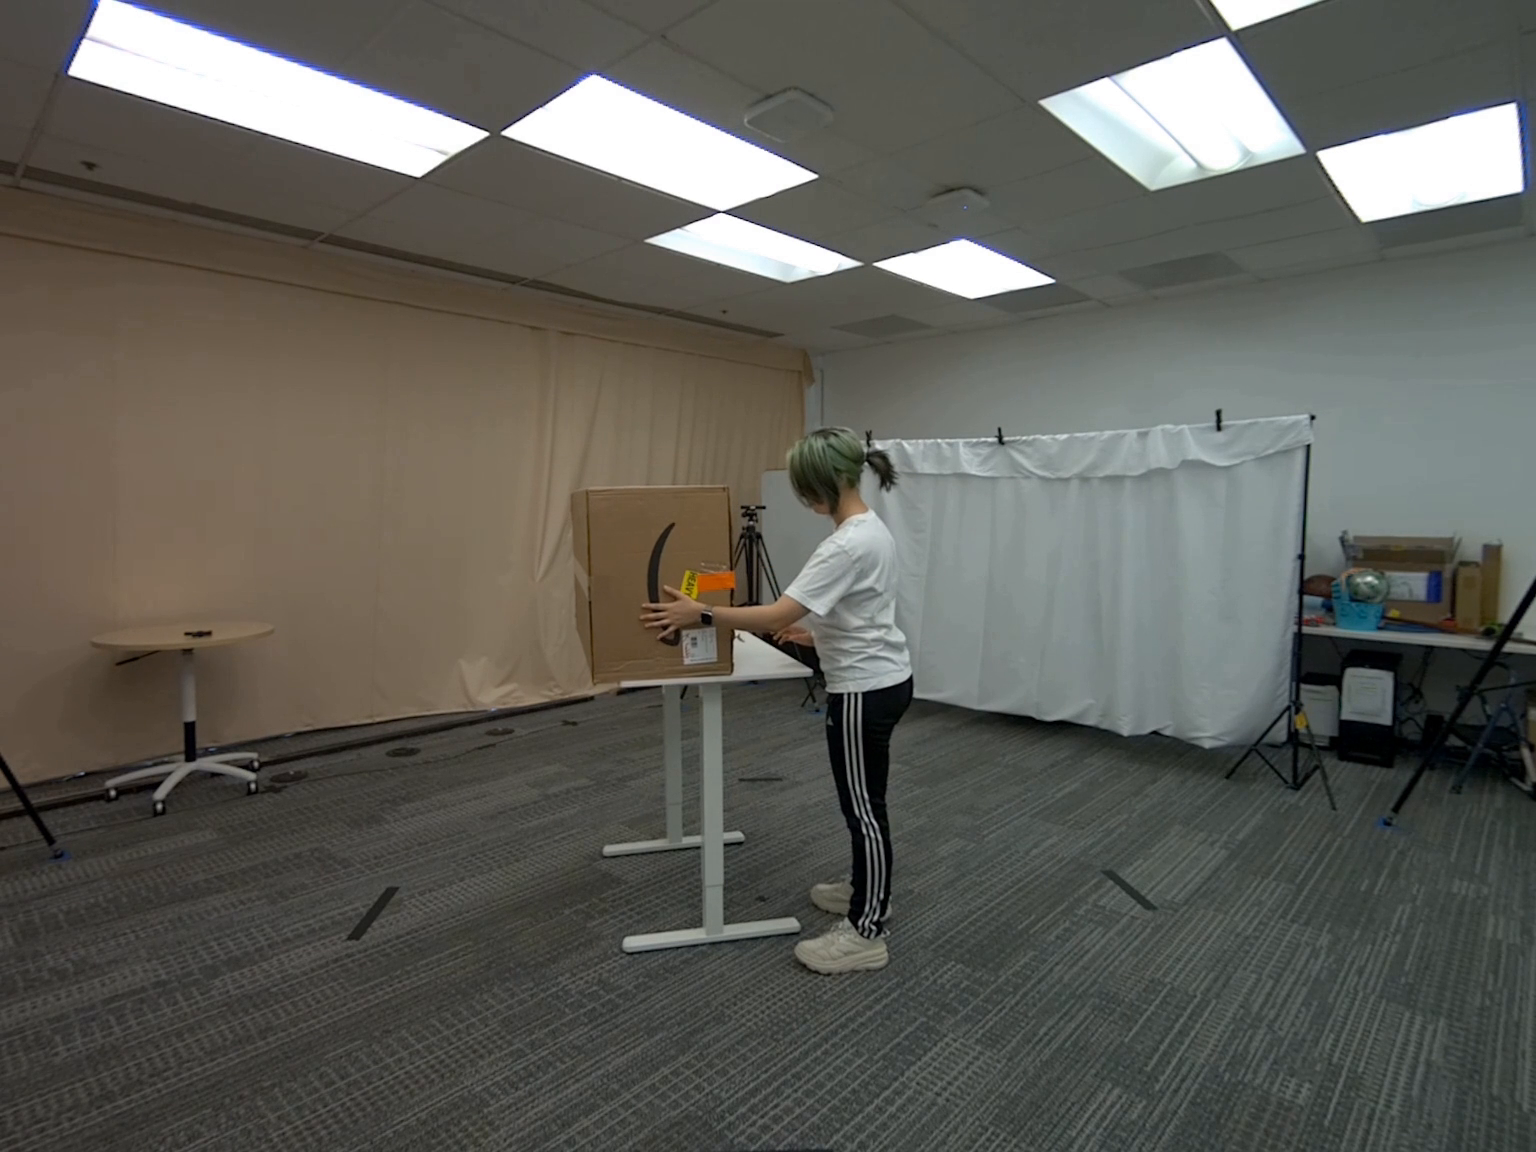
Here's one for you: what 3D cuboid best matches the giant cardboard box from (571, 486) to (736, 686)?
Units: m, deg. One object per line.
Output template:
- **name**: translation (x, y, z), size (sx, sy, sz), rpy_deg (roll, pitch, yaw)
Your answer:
- **giant cardboard box**: translation (-0.444, -0.025, 2.978), size (0.440, 0.582, 1.045), rpy_deg (-1, 5, -15)
